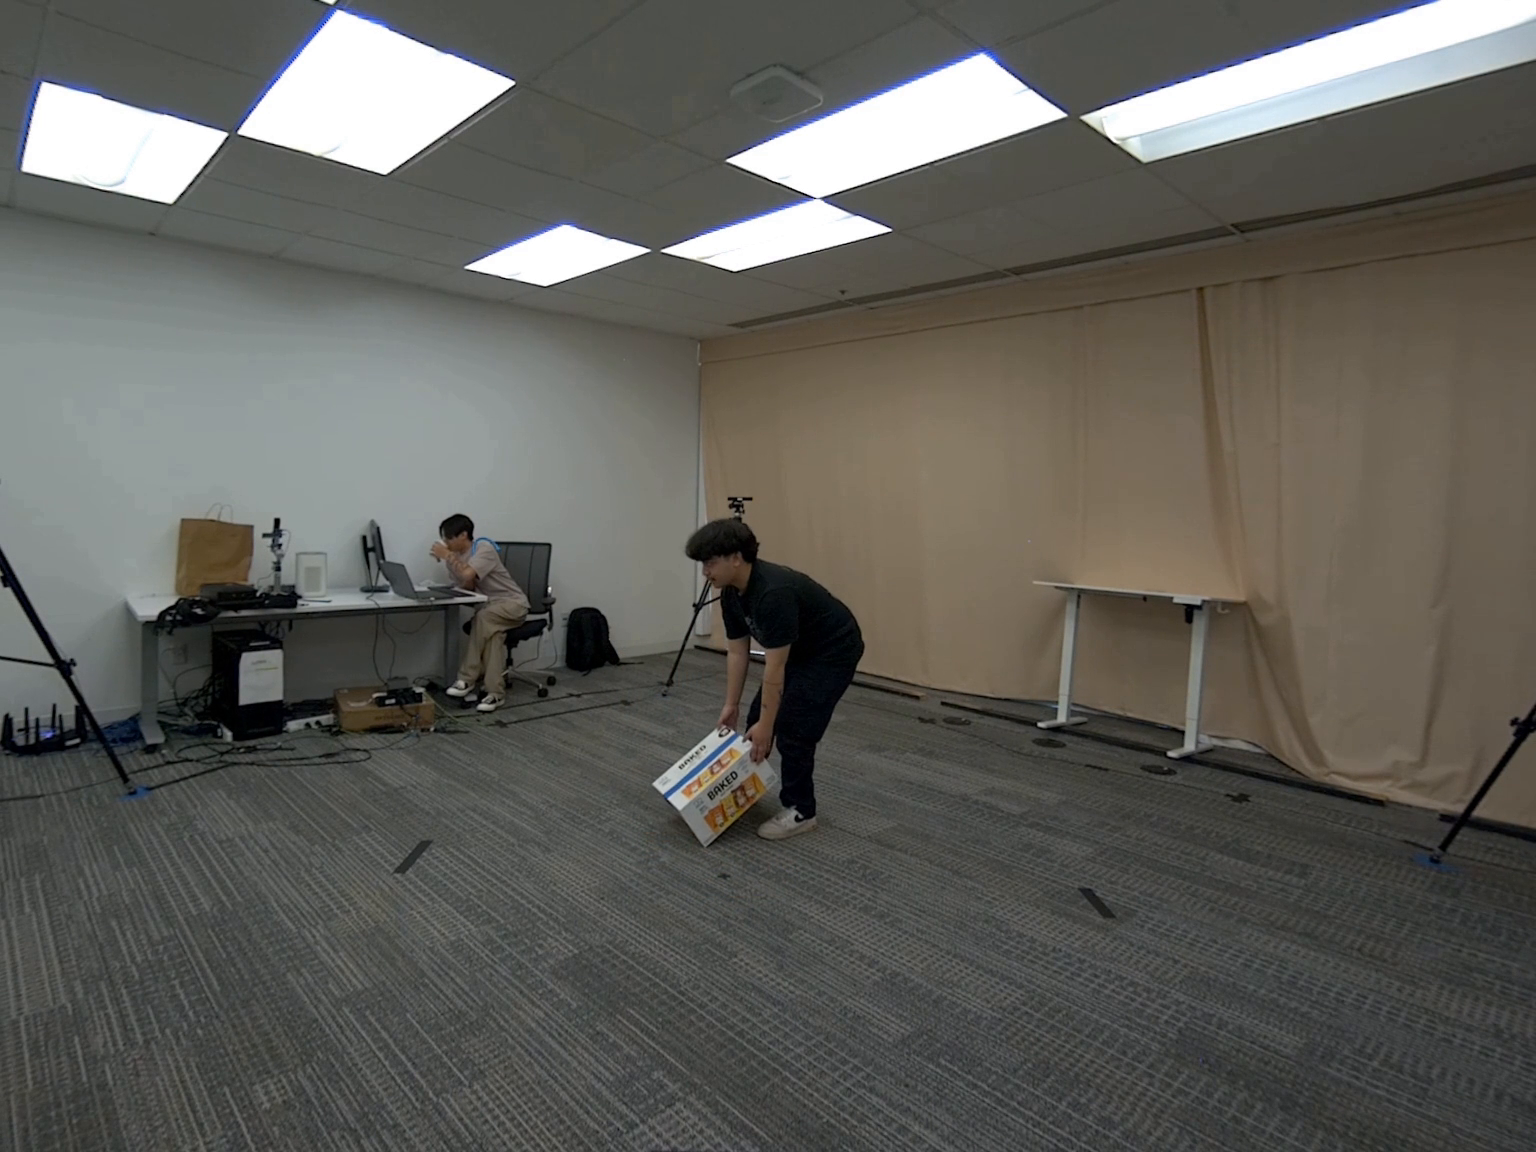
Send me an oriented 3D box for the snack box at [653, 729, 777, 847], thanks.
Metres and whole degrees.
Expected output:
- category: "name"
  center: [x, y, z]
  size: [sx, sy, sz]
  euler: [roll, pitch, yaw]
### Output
- category: "snack box"
  center: [-0.235, 0.870, 3.540]
  size: [0.404, 0.202, 0.347]
  euler: [-39, 19, -18]
